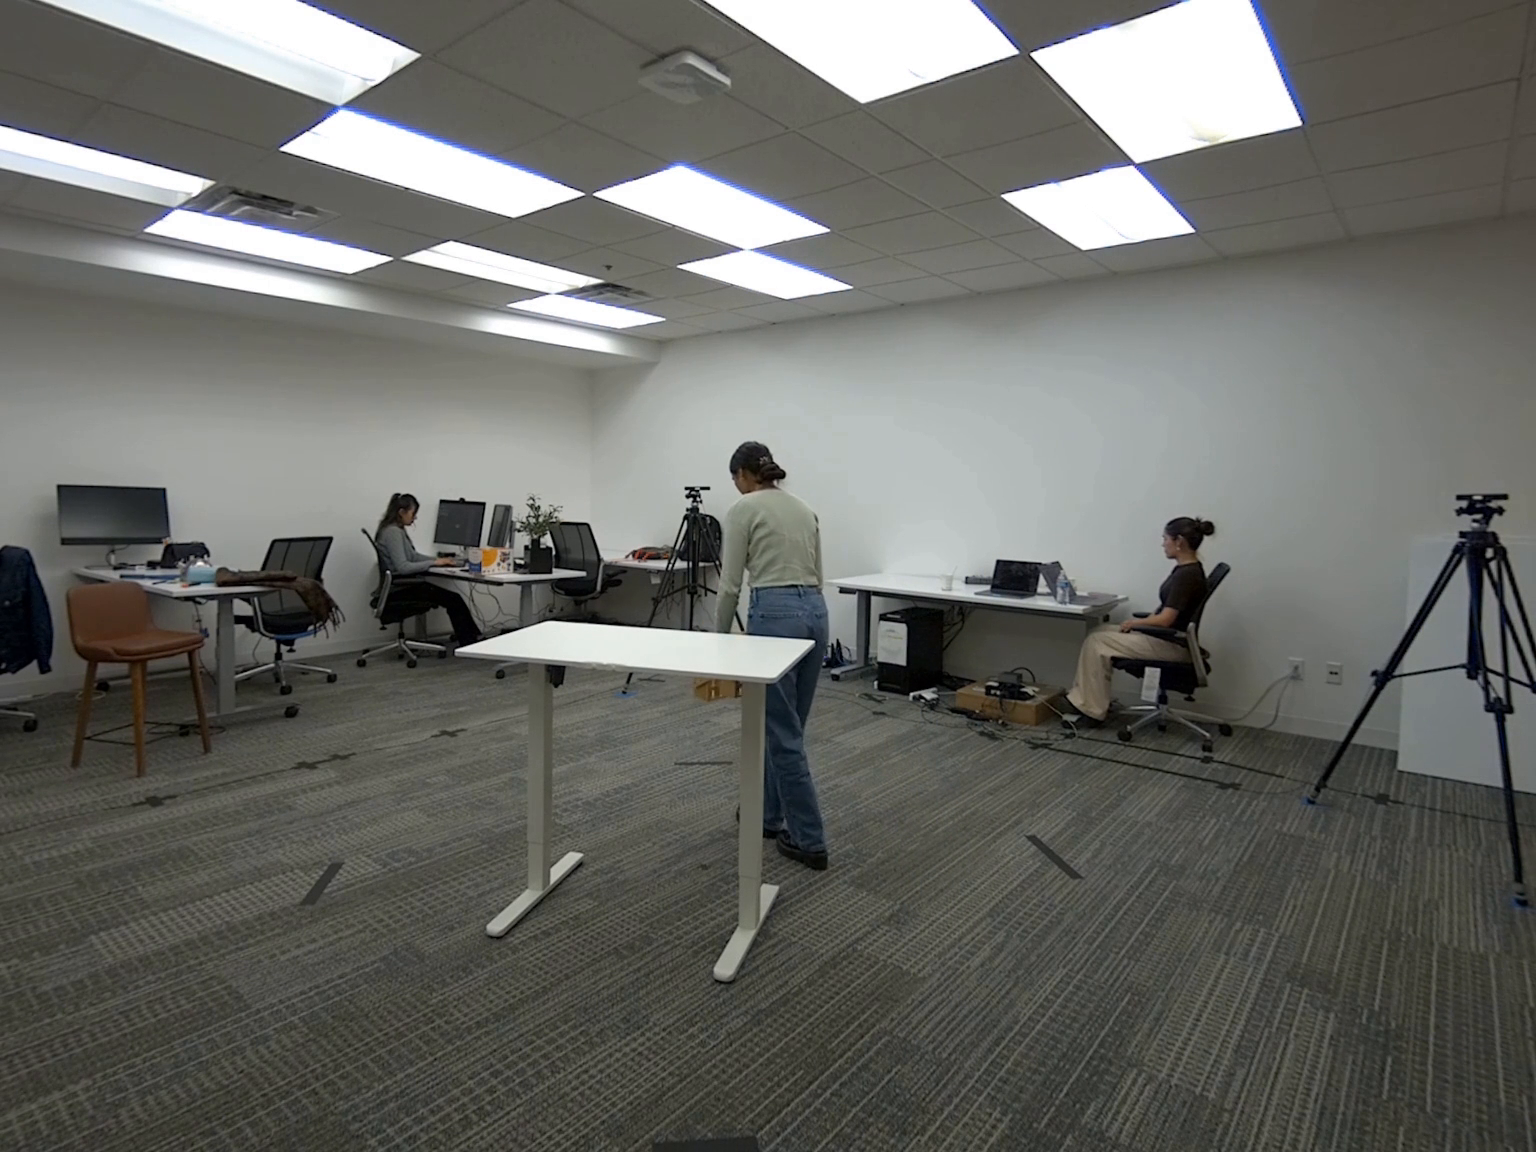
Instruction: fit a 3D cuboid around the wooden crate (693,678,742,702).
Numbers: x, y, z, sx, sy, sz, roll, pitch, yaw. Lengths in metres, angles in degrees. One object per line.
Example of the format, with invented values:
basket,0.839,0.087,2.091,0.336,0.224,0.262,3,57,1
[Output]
wooden crate,-0.121,0.348,3.537,0.315,0.300,0.283,-3,8,-42
